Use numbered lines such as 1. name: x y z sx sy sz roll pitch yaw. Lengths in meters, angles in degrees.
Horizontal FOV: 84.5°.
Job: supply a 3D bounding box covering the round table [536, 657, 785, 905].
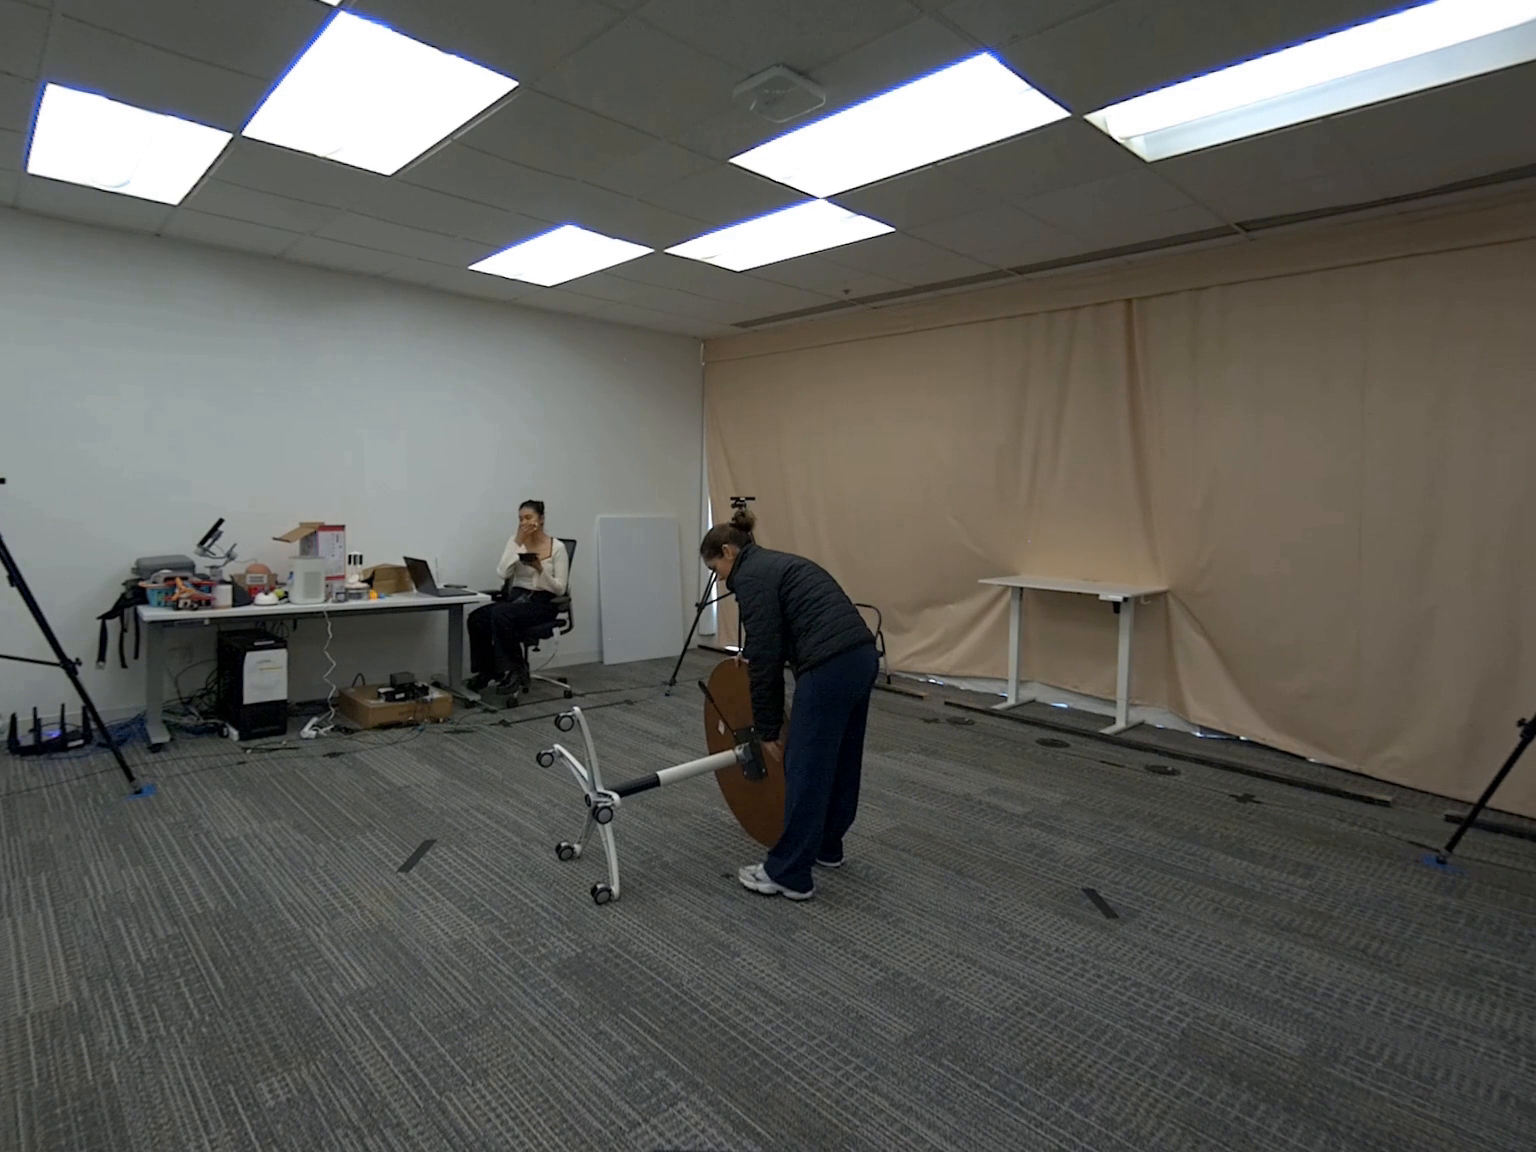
1. round table: -0.383 0.760 3.182 0.772 0.780 0.804 -10 10 -33
